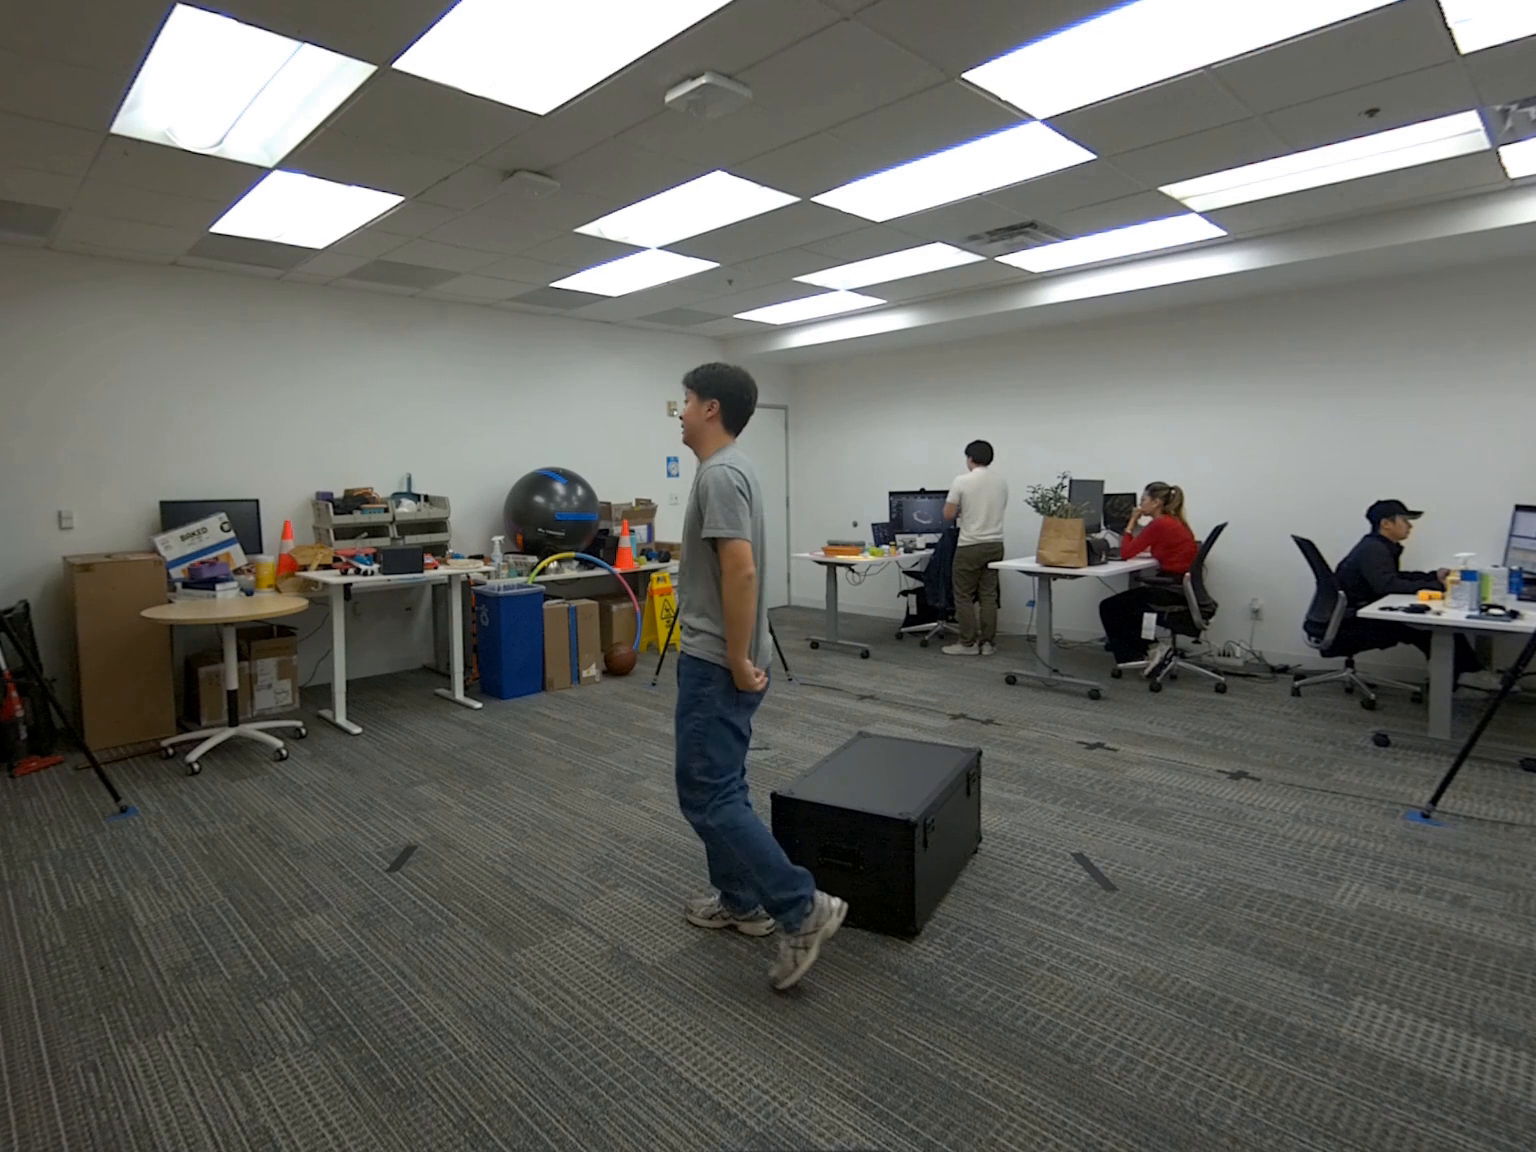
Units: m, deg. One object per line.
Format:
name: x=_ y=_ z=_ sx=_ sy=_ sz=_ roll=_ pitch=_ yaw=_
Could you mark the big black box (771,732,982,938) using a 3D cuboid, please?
big black box: x=0.426 y=0.855 z=3.015 sx=0.534 sy=0.394 sz=0.844 roll=1 pitch=6 yaw=29
